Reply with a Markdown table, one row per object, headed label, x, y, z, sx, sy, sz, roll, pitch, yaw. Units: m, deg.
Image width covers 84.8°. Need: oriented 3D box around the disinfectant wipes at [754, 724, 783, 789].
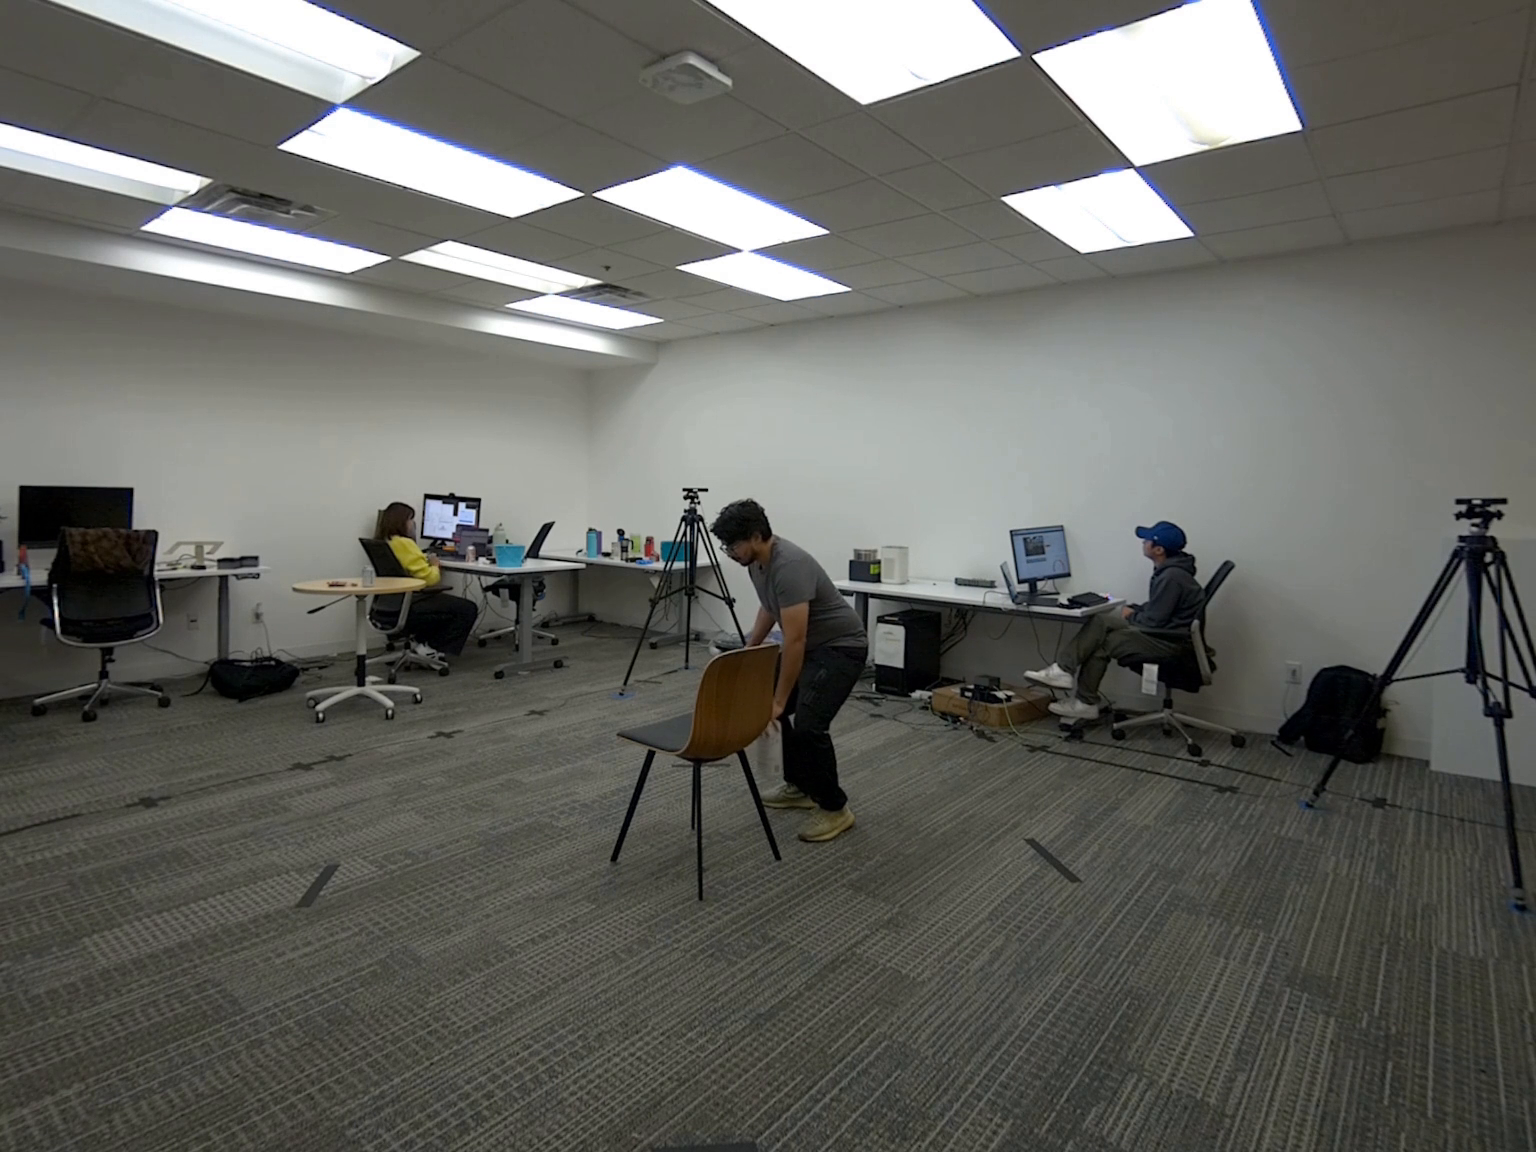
| label | x | y | z | sx | sy | sz | roll | pitch | yaw |
| --- | --- | --- | --- | --- | --- | --- | --- | --- | --- |
| disinfectant wipes | -0.005 | 0.702 | 3.418 | 0.118 | 0.216 | 0.119 | -2 | 7 | -1 |
